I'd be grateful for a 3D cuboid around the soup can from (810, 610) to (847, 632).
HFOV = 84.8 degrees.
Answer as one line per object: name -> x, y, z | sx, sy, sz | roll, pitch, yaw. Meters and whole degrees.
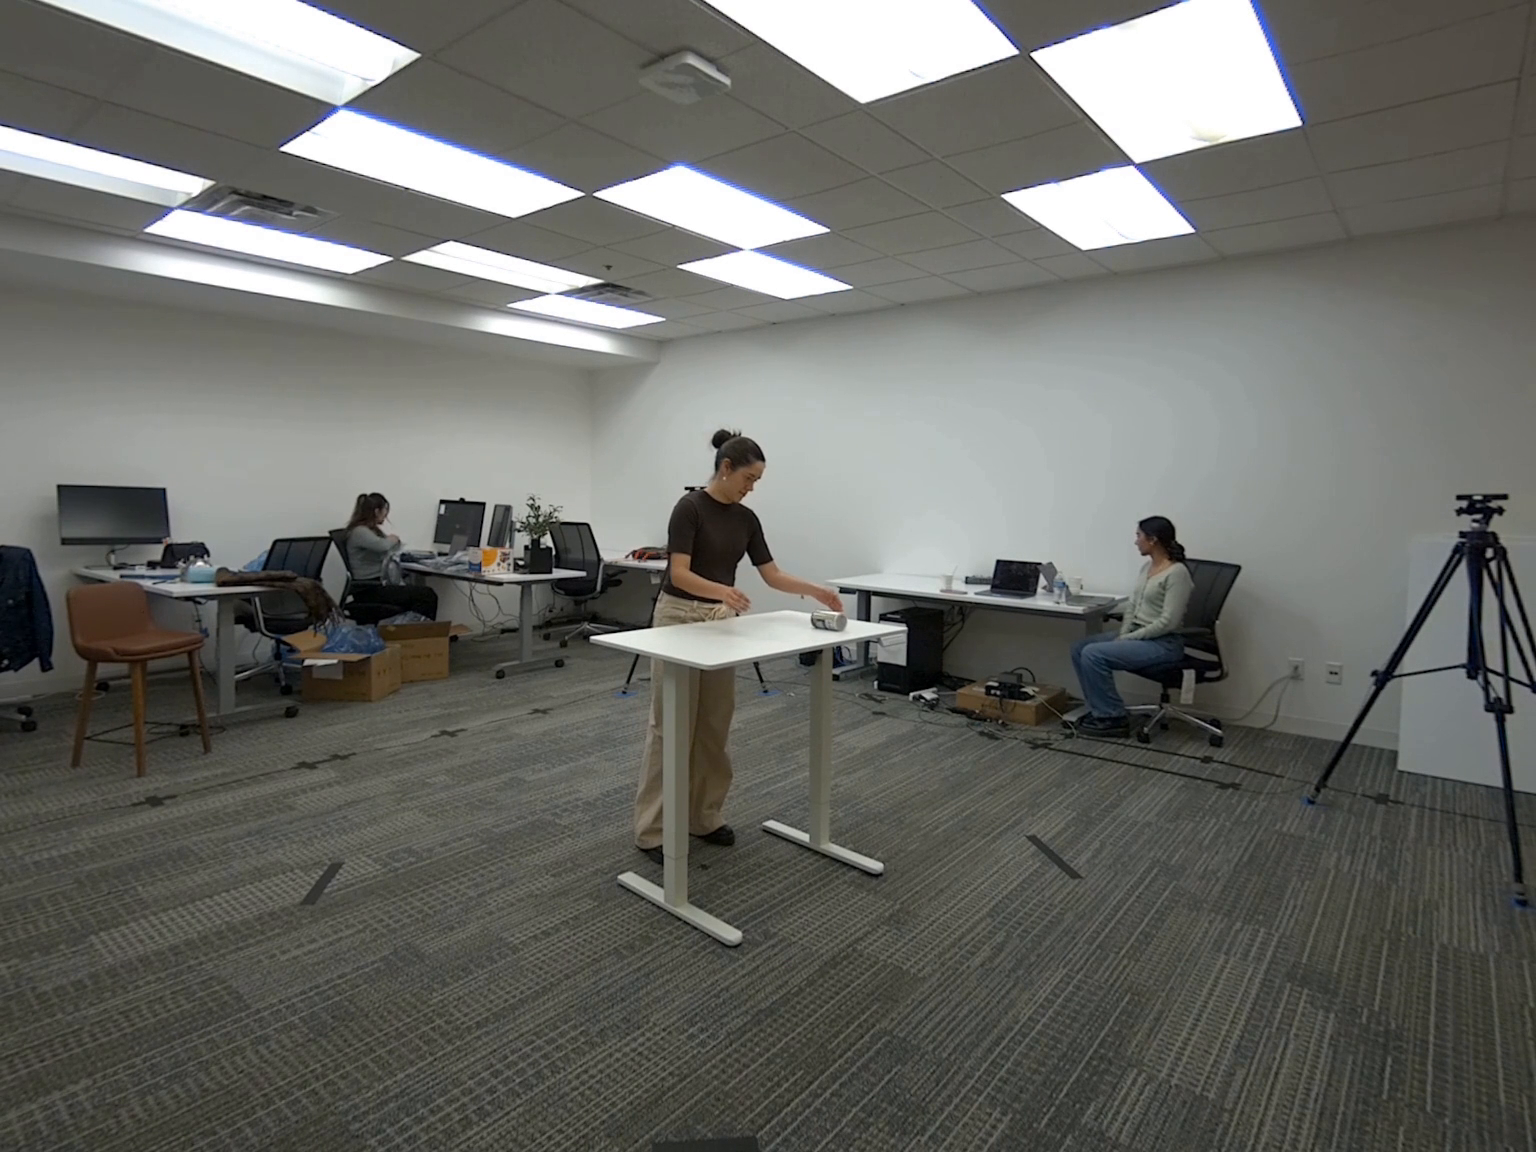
soup can -> 0.211, 0.159, 3.071 | 0.065, 0.067, 0.126 | -3, 8, -44
